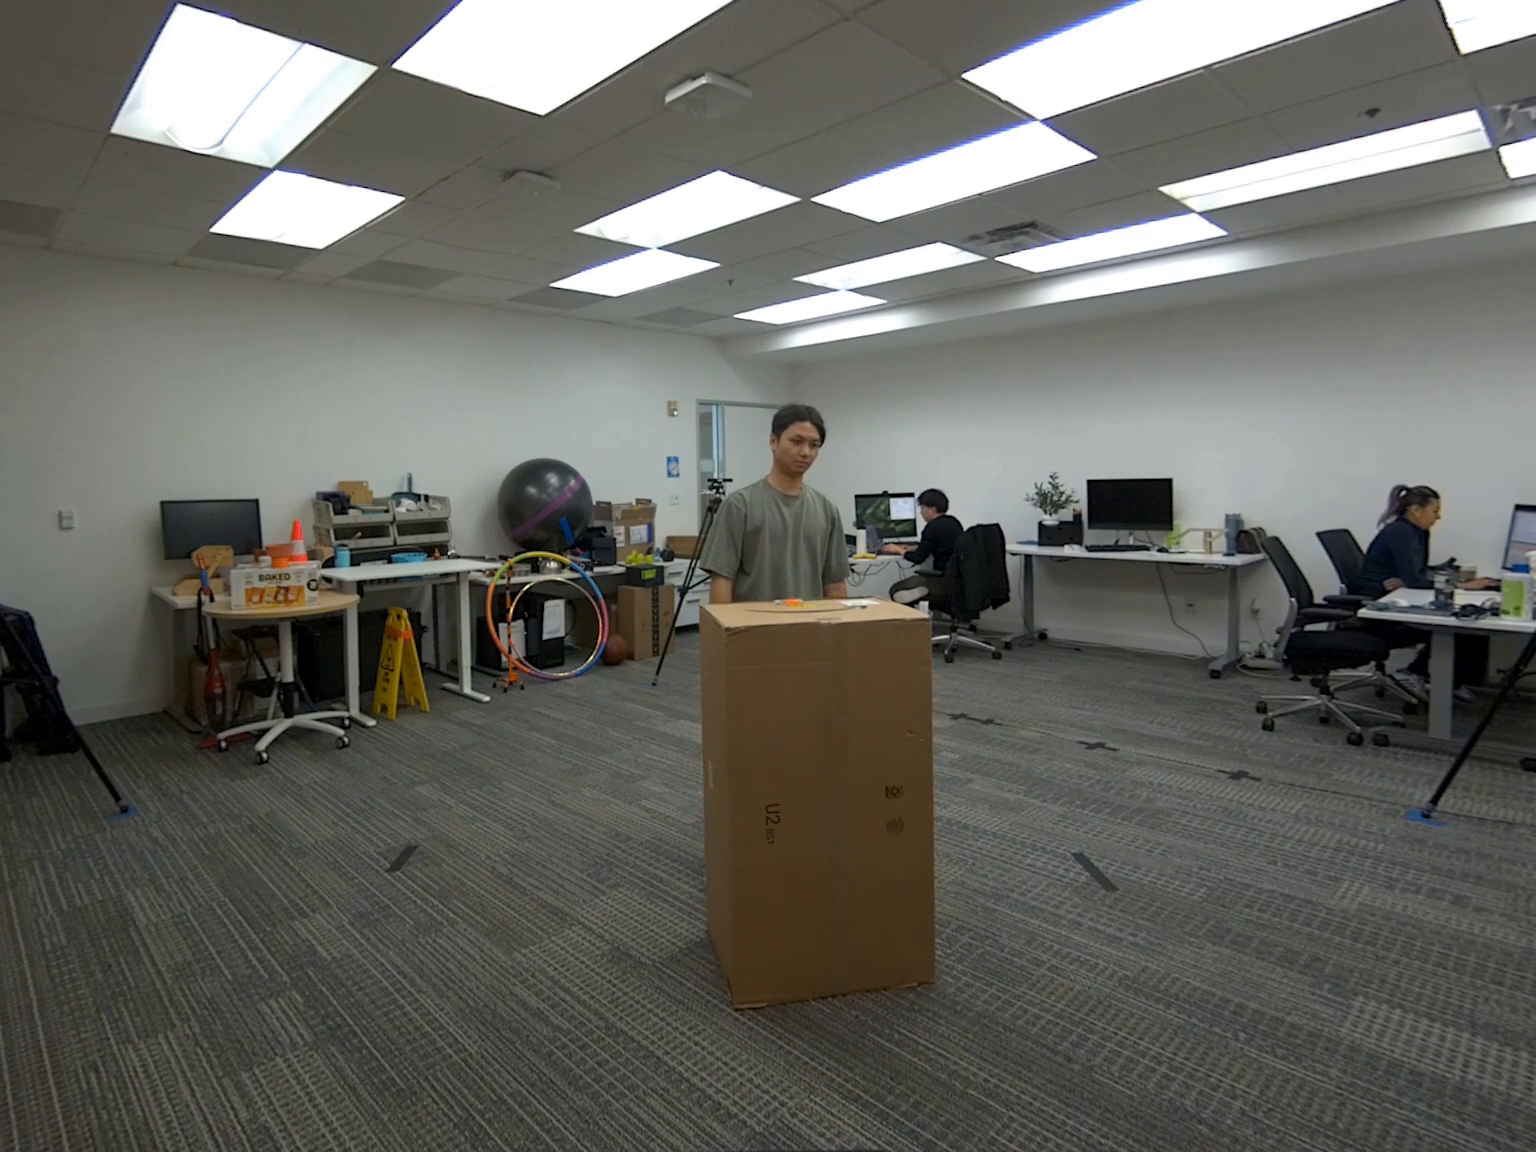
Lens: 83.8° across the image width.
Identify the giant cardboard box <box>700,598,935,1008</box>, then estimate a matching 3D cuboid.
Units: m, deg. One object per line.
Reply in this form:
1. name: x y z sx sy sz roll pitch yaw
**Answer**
1. giant cardboard box: 0.123 0.607 2.482 0.572 1.022 0.432 -2 4 -11
